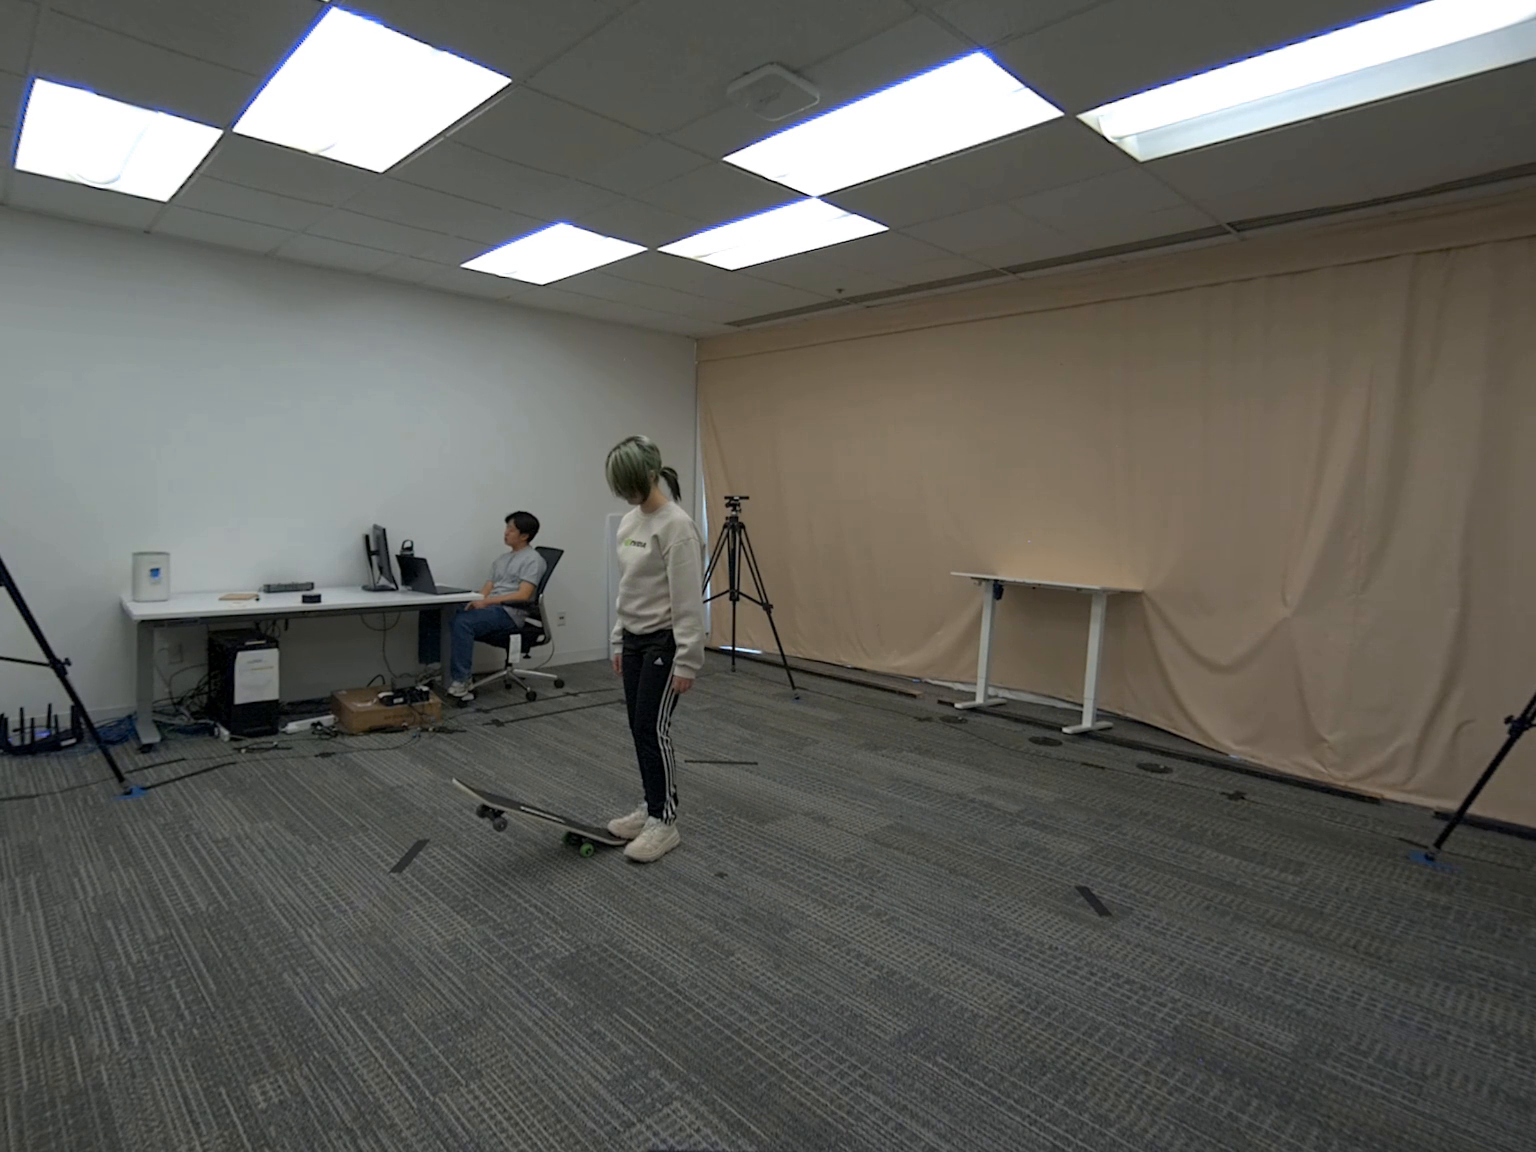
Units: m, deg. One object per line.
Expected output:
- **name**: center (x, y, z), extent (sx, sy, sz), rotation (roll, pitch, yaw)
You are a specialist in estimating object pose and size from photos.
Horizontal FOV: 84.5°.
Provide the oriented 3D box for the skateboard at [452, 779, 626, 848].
- **skateboard**: center (-0.876, 0.937, 3.186), extent (0.762, 0.111, 0.198), rotation (33, -16, -36)
